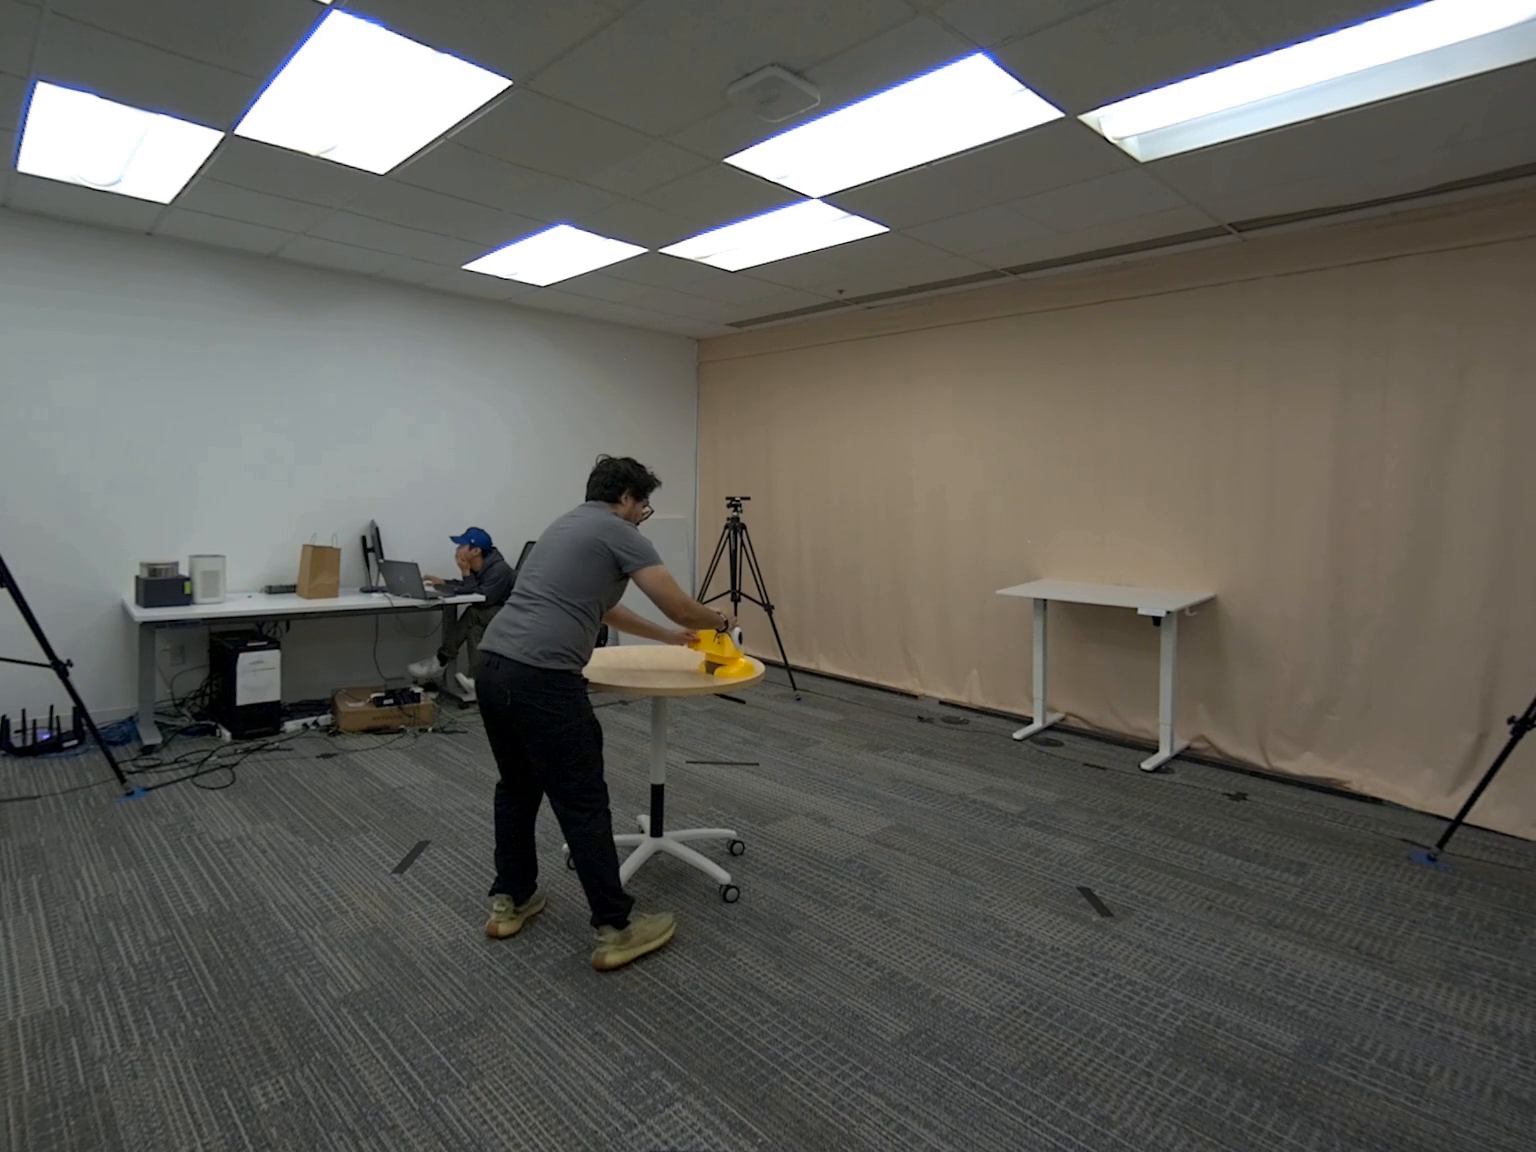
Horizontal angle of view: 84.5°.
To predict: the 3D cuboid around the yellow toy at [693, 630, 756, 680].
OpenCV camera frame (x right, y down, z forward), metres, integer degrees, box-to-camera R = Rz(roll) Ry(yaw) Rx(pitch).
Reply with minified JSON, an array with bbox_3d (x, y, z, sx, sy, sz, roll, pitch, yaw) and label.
[{"bbox_3d":[-0.154,0.228,2.976,0.188,0.230,0.210,-2,5,-43],"label":"yellow toy"}]
